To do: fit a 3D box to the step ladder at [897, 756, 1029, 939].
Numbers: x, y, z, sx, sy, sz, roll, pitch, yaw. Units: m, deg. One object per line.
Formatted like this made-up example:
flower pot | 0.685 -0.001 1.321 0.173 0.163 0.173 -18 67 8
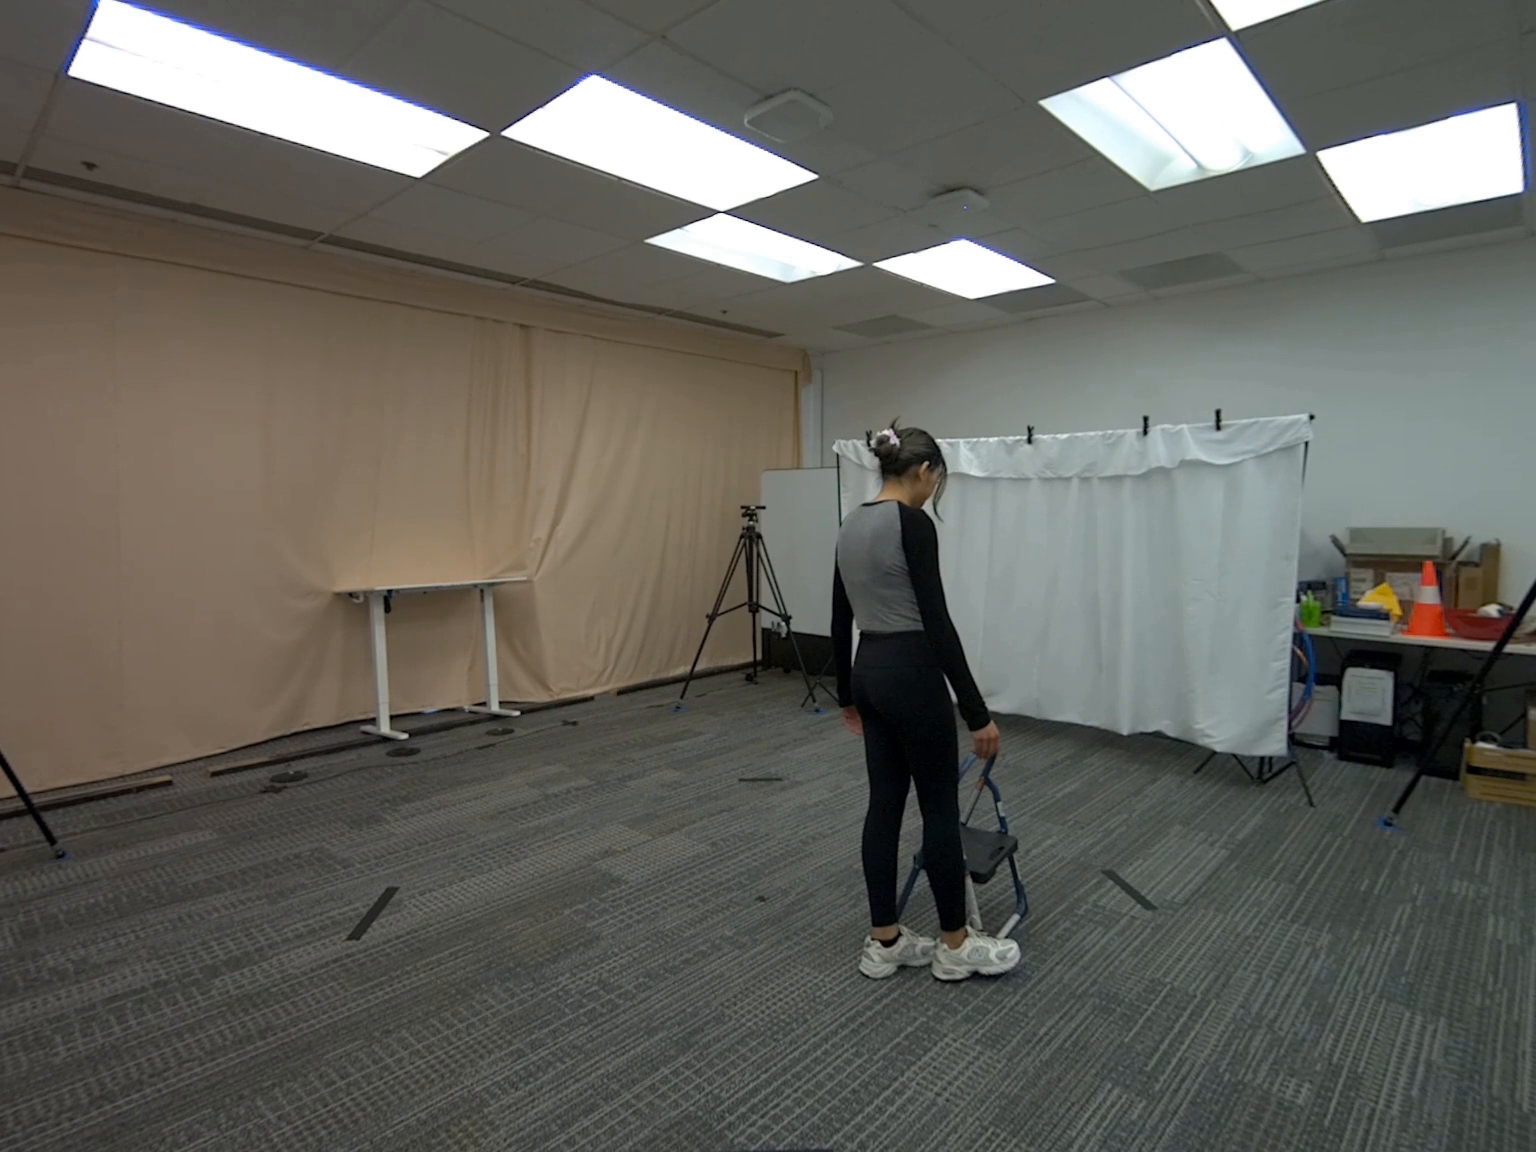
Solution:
step ladder | 0.642 0.855 2.808 0.360 0.605 0.418 2 4 34
